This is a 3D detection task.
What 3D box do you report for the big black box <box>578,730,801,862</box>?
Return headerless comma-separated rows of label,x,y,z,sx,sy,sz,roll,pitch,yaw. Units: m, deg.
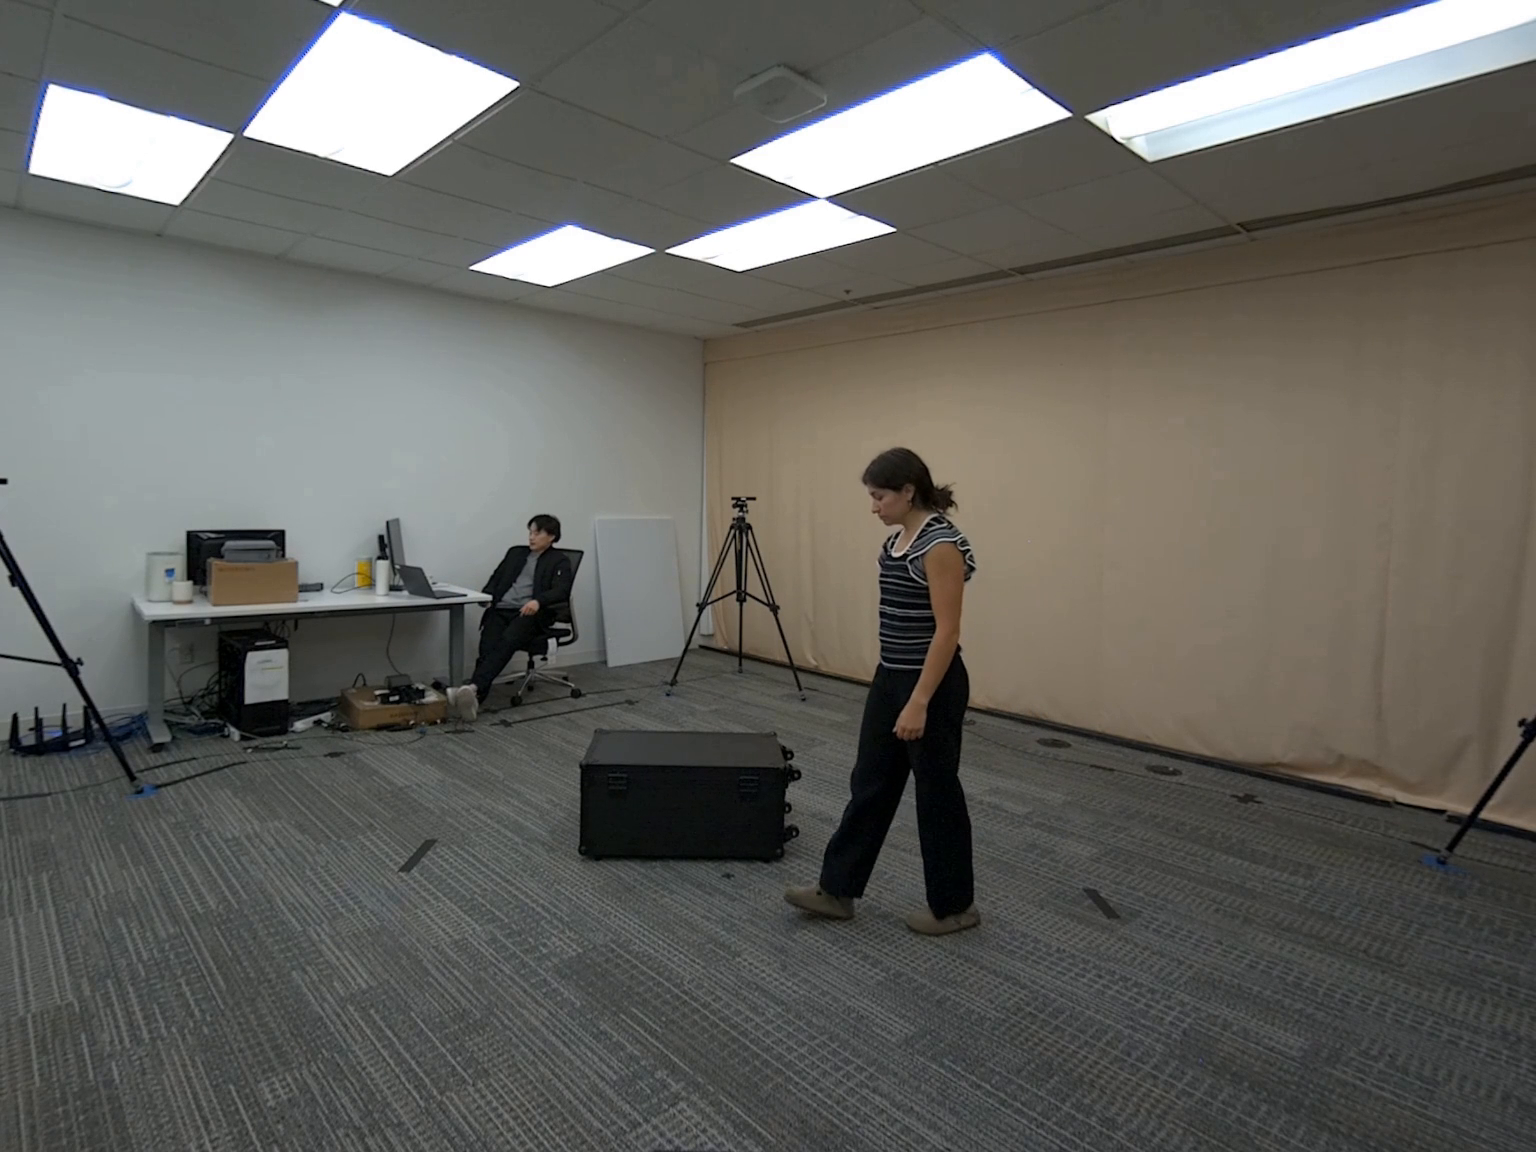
big black box,-0.315,0.880,3.432,0.859,0.395,0.524,1,4,-3
